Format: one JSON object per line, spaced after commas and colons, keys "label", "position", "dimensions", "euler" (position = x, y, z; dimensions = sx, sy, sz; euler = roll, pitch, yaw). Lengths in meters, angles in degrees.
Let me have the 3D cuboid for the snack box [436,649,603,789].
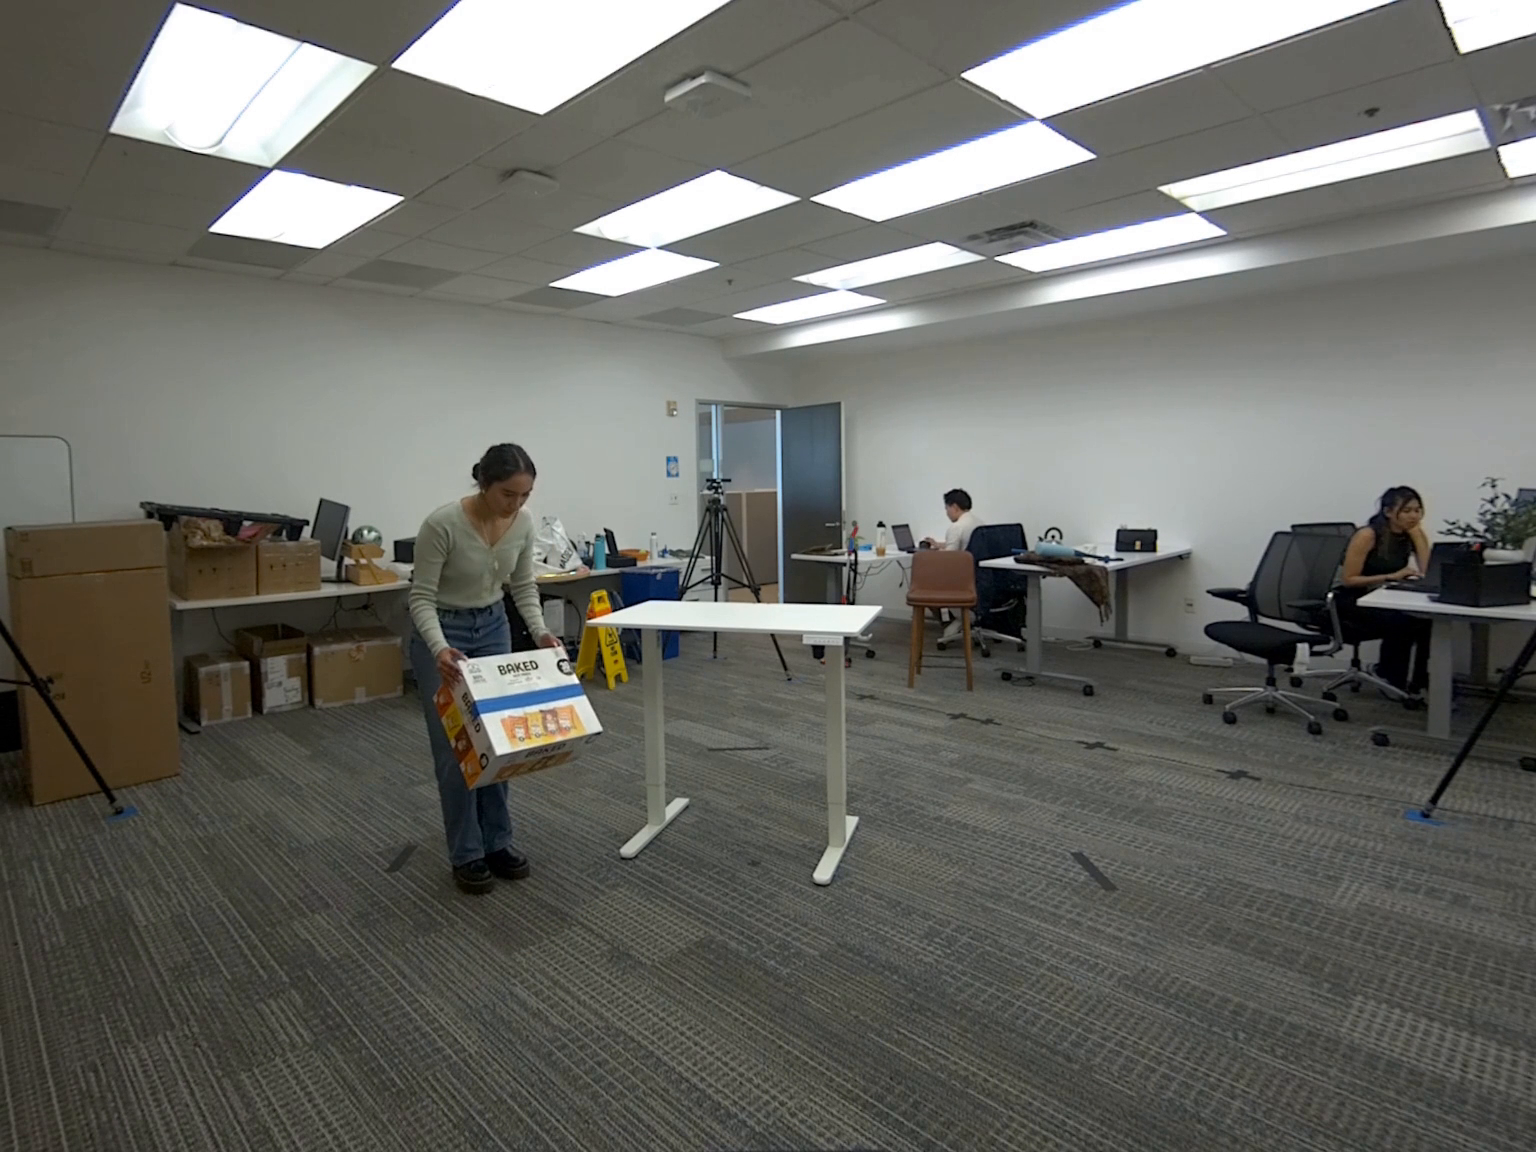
{"label": "snack box", "position": [-0.807, 0.448, 2.772], "dimensions": [0.394, 0.350, 0.205], "euler": [-4, -38, -49]}
